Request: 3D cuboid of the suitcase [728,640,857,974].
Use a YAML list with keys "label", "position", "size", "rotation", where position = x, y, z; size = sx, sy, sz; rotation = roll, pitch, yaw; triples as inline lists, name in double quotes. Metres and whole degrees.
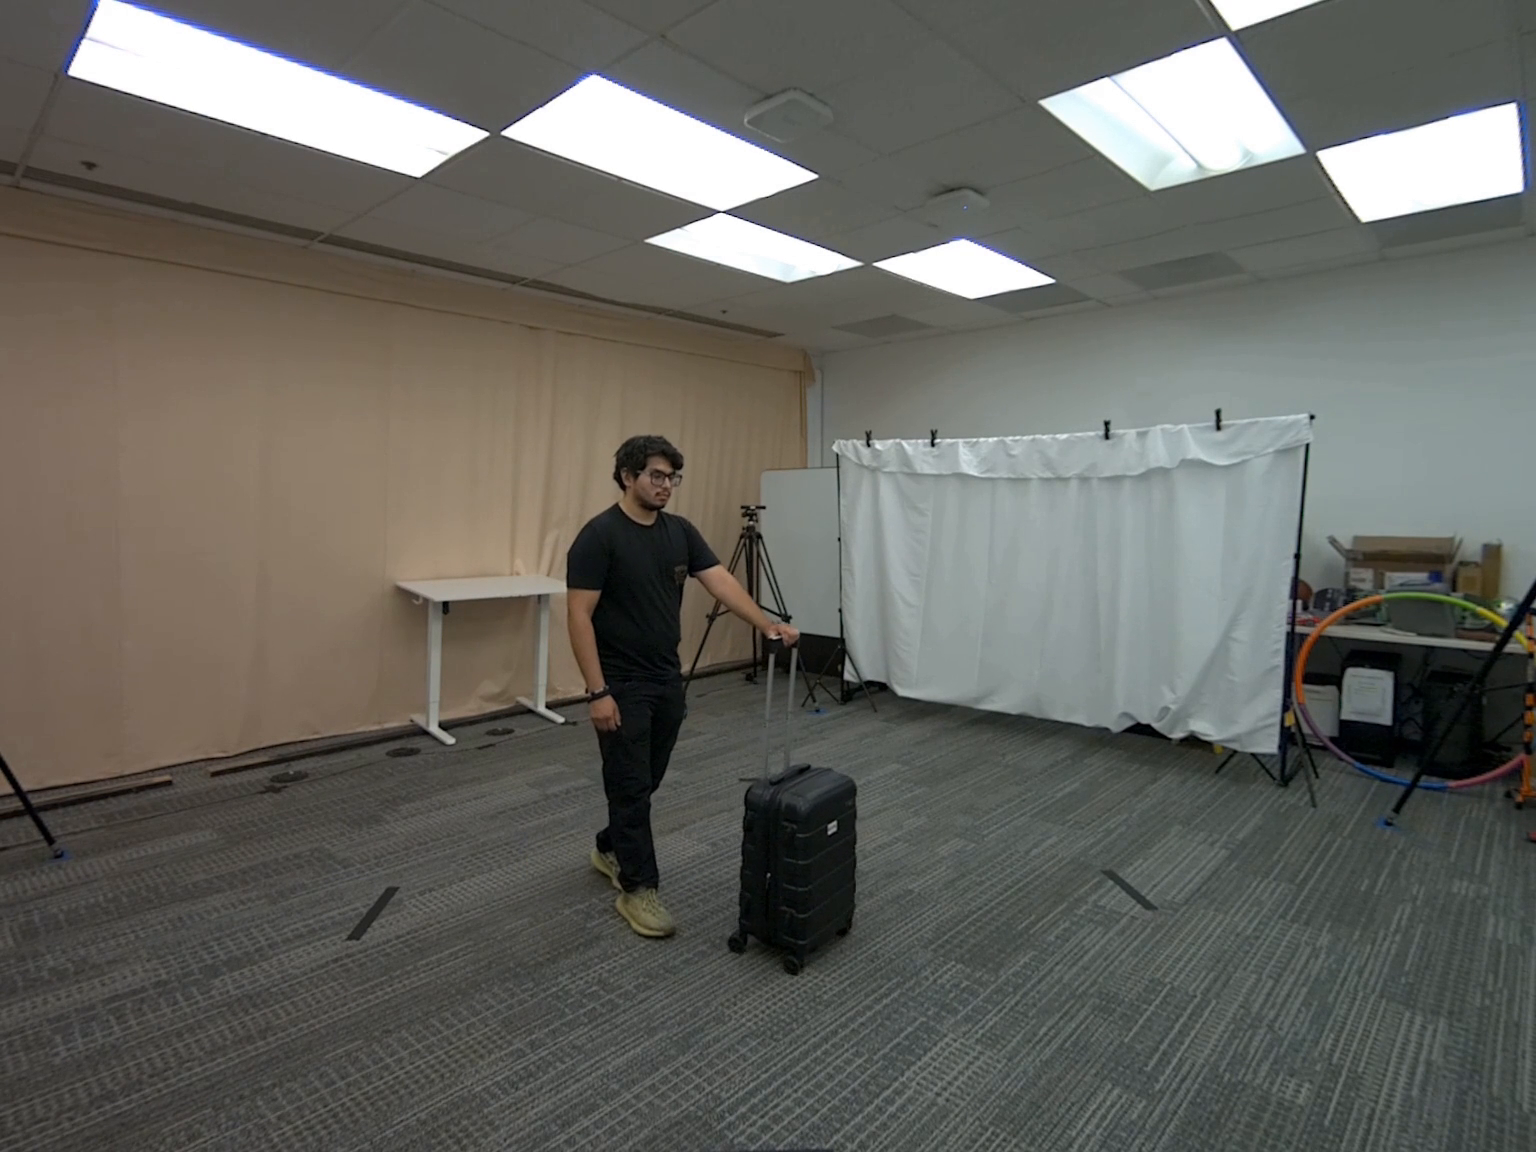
- label: "suitcase"
  position: [0.117, 0.698, 2.643]
  size: [0.265, 0.976, 0.373]
  rotation: [8, 6, 34]
